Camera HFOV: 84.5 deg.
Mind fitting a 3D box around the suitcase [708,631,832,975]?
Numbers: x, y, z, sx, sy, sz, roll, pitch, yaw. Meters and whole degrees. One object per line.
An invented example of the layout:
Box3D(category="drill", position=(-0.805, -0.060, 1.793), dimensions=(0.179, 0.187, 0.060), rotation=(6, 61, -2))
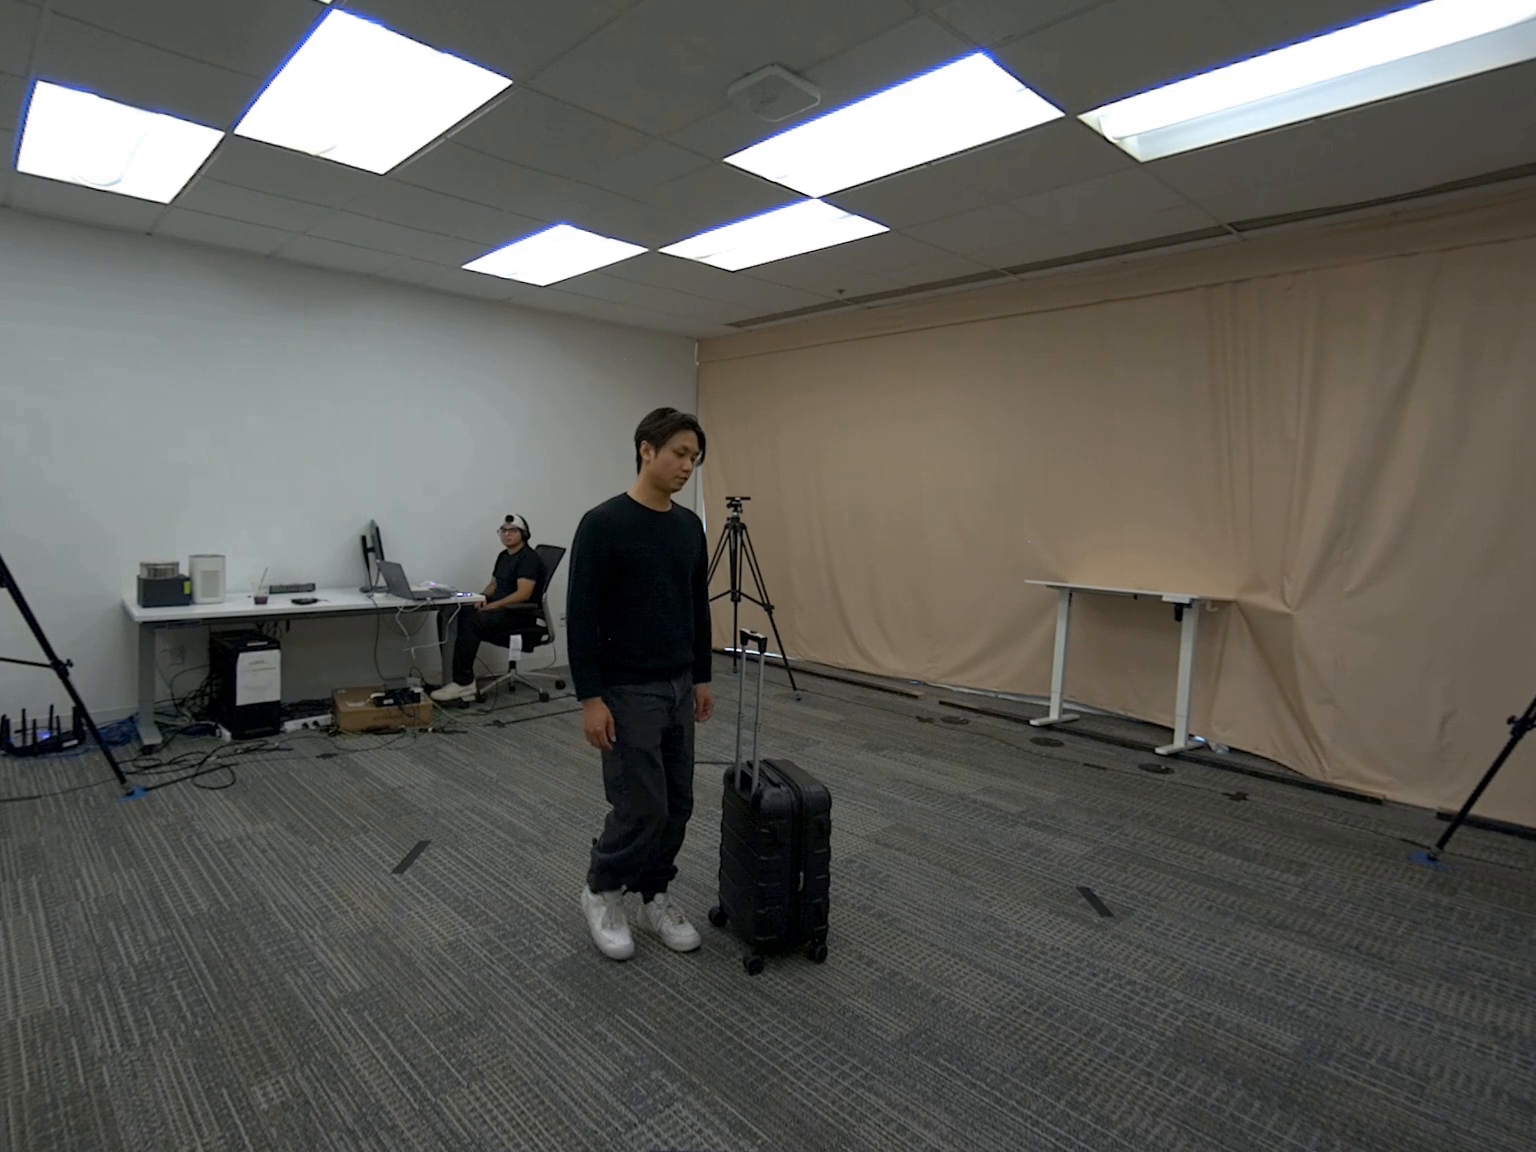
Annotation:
Box3D(category="suitcase", position=(0.029, 0.678, 2.633), dimensions=(0.253, 0.977, 0.391), rotation=(3, 3, -21))
